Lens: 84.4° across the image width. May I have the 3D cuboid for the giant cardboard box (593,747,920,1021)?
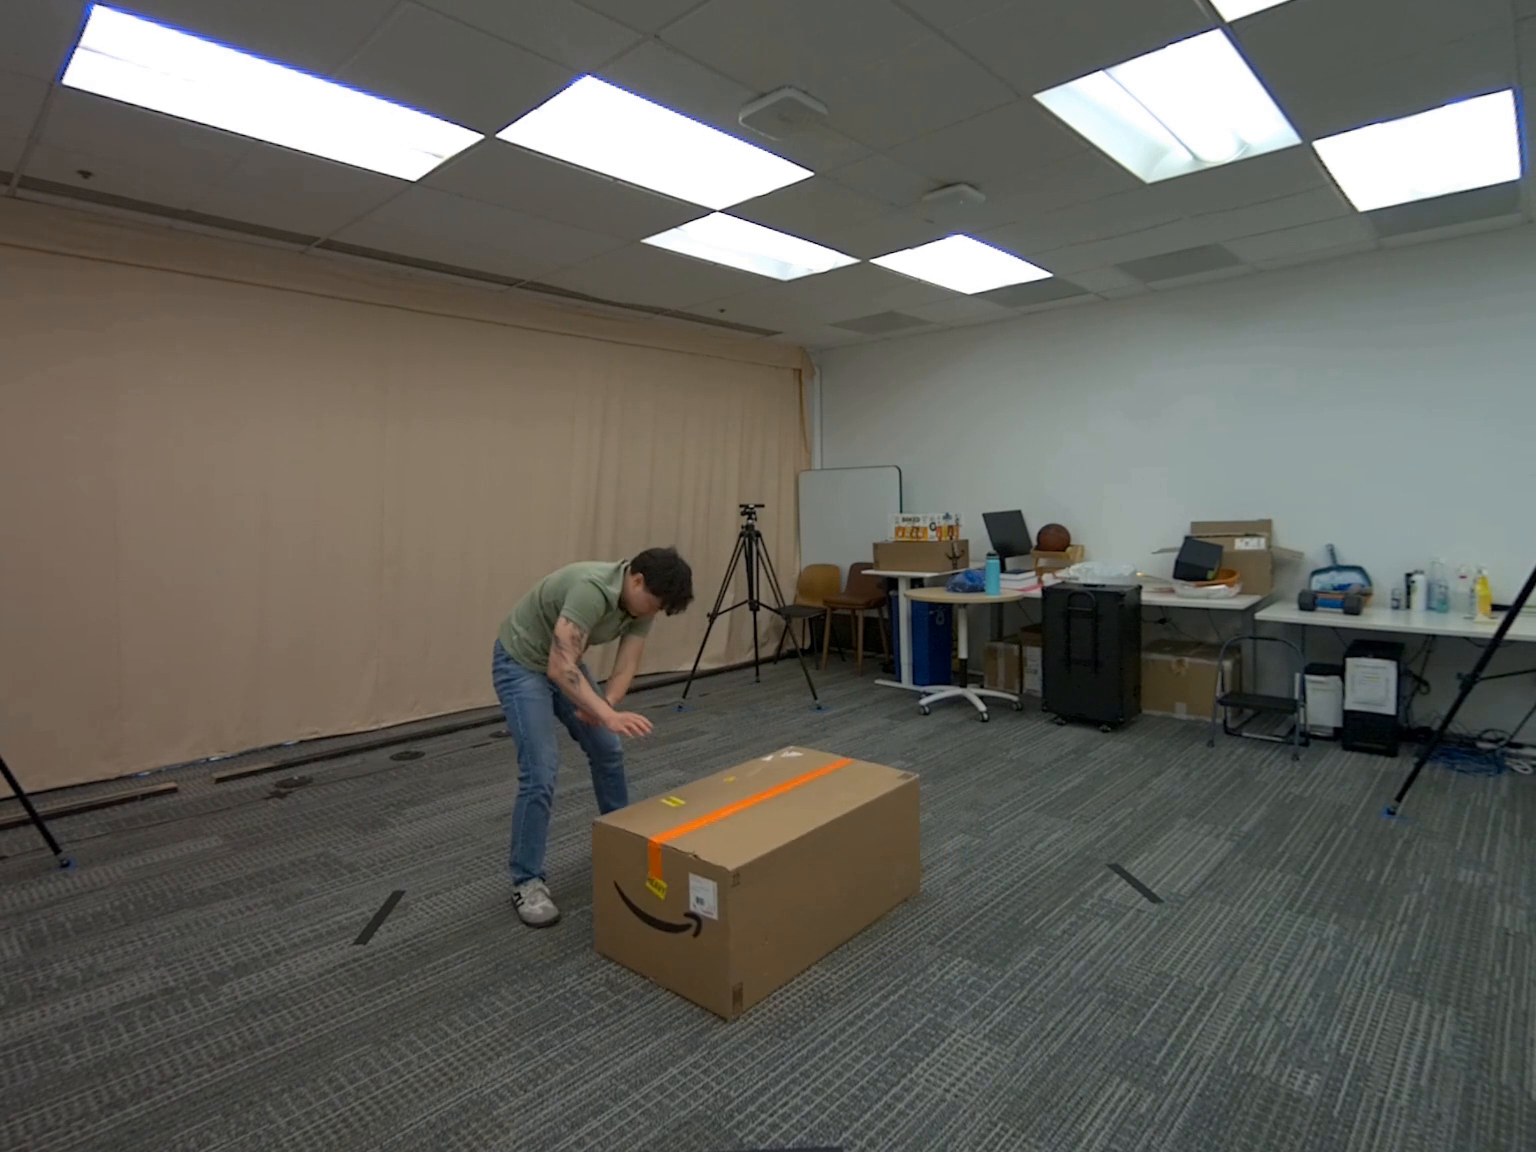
[{"bbox_3d":[0.007,0.939,2.819,0.596,0.425,0.995,2,6,41],"label":"giant cardboard box"}]
